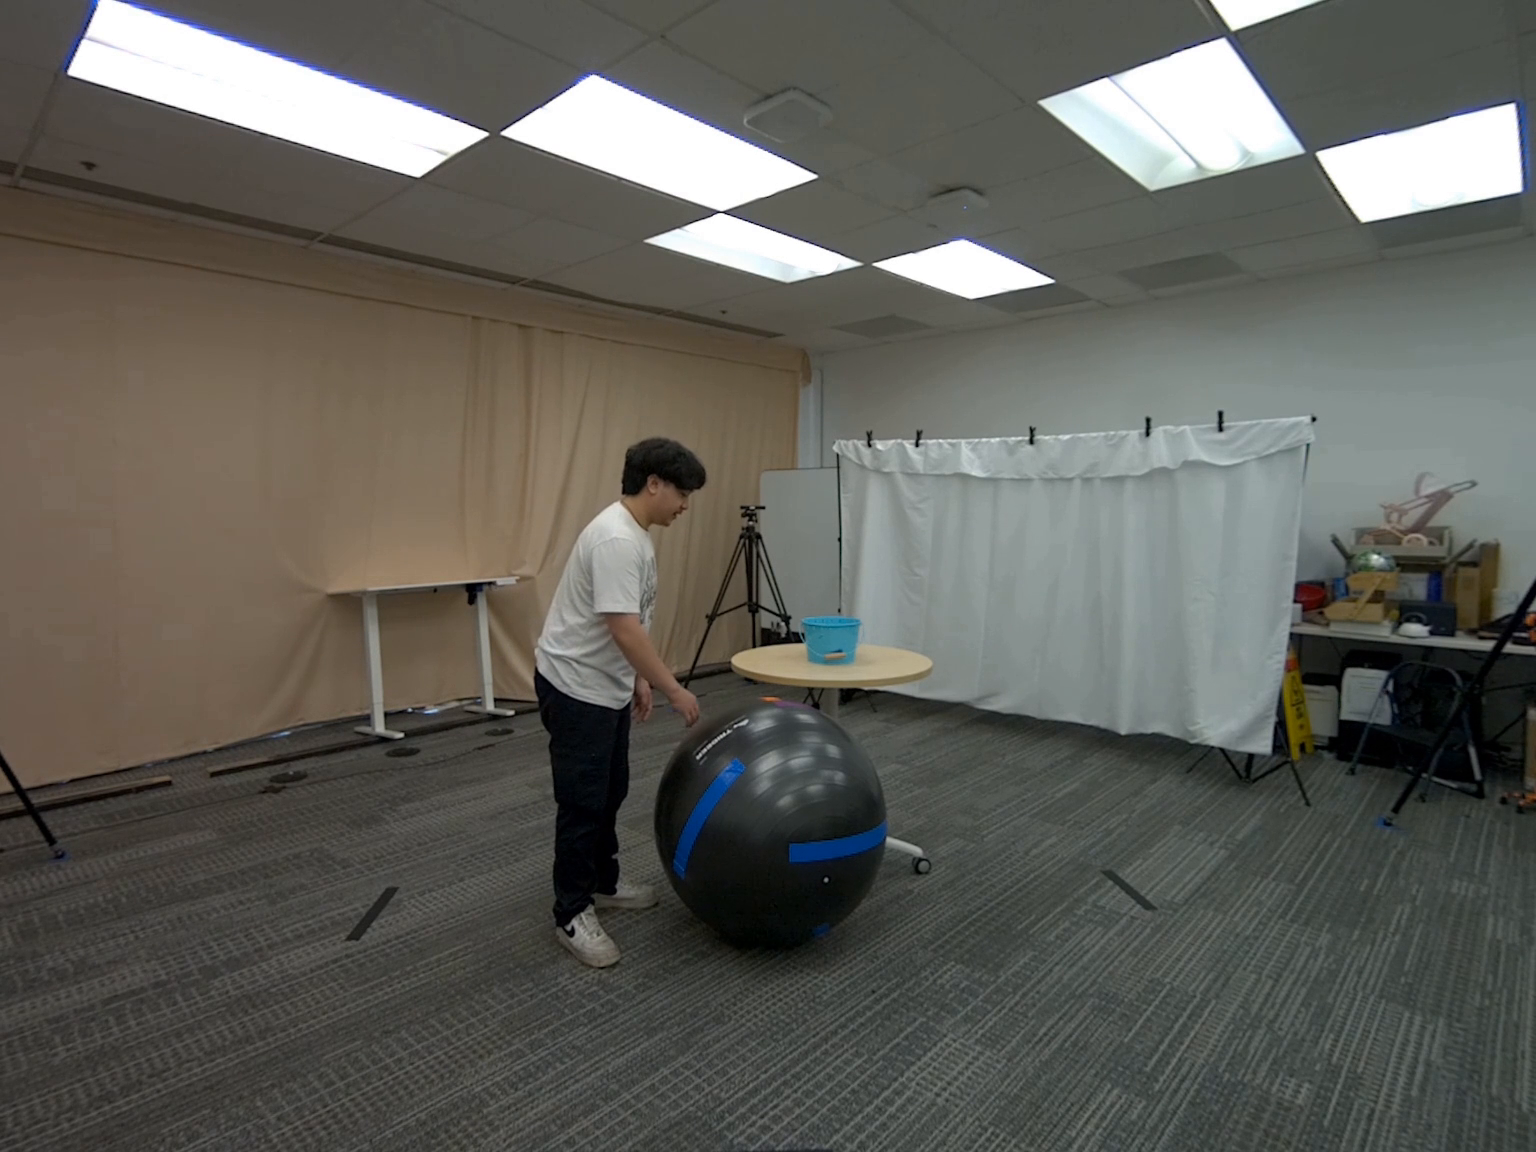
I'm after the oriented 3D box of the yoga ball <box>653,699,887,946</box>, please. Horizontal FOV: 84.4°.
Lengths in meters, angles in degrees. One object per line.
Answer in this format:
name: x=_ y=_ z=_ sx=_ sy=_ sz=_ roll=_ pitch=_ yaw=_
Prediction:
yoga ball: x=0.012 y=0.793 z=2.750 sx=0.757 sy=0.756 sz=0.761 roll=0 pitch=4 yaw=-2
